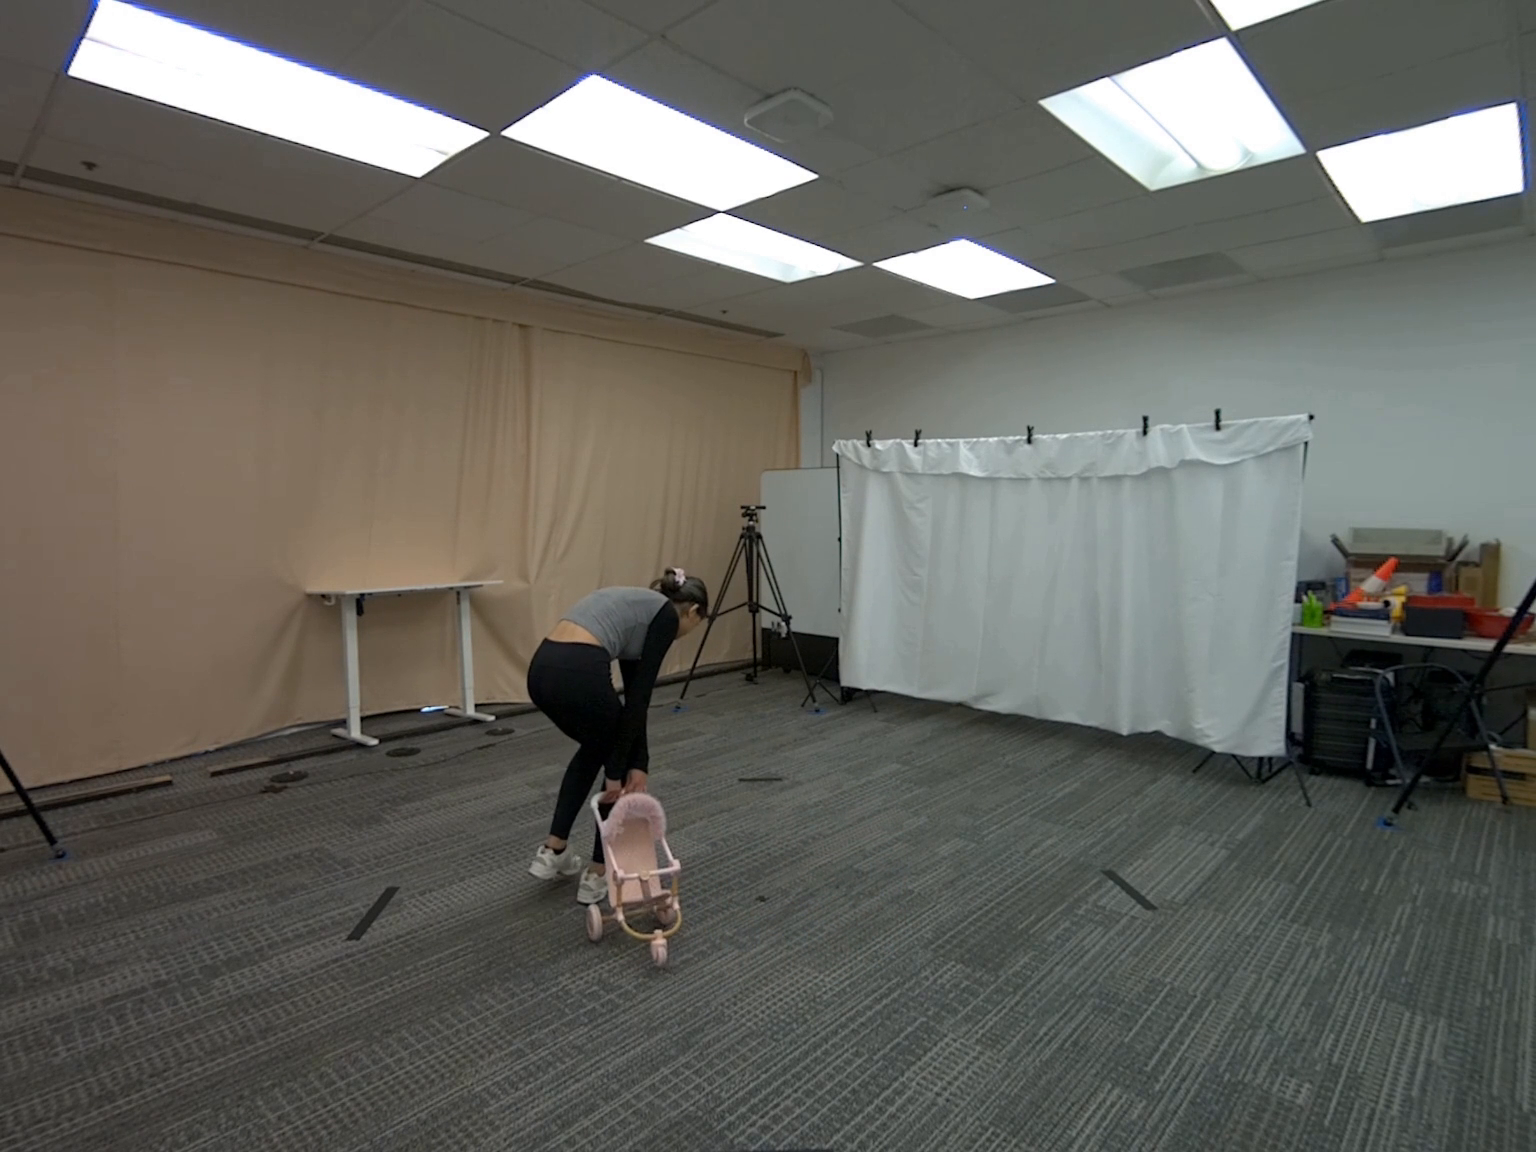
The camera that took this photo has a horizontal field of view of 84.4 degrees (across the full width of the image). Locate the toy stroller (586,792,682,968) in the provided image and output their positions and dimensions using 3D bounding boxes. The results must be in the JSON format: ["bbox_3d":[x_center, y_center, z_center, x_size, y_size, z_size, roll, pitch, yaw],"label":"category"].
[{"bbox_3d":[-0.415,0.943,2.700,0.275,0.541,0.345,1,-18,-25],"label":"toy stroller"}]
